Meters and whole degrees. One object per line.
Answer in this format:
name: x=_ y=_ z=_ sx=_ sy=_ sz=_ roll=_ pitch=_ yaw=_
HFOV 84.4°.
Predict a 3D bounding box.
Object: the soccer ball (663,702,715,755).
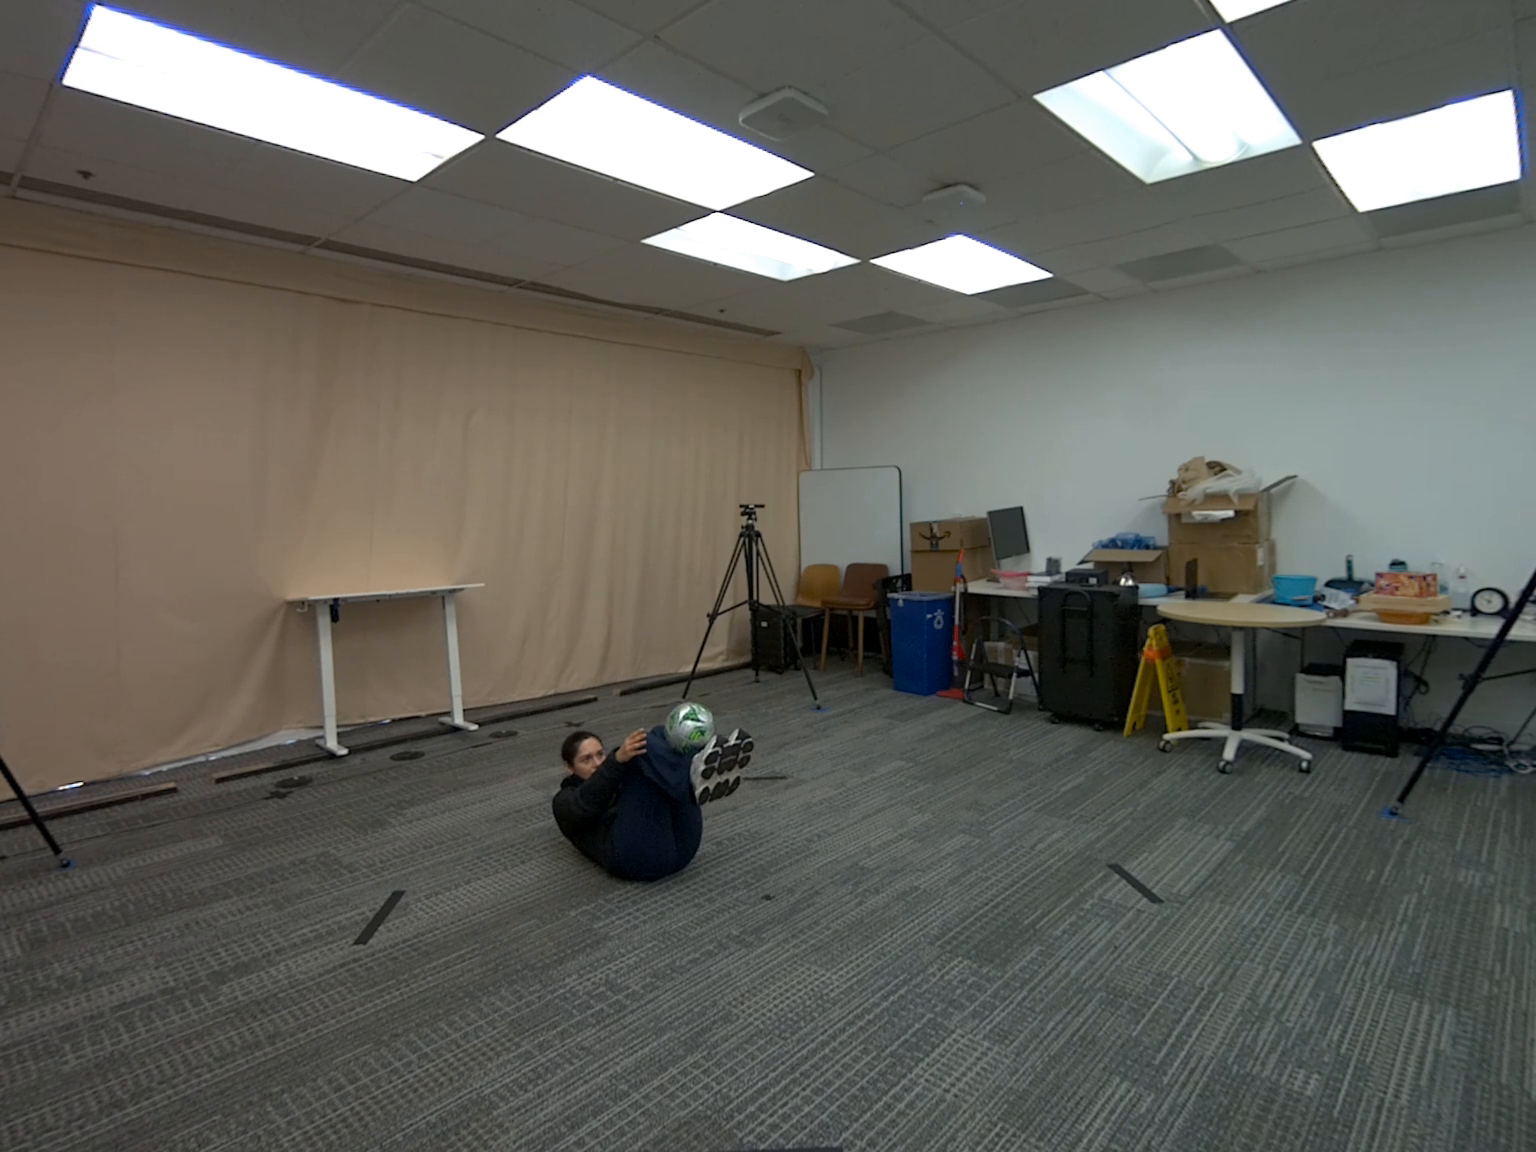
soccer ball: x=-0.276 y=0.542 z=2.988 sx=0.187 sy=0.187 sz=0.188 roll=2 pitch=5 yaw=-2
